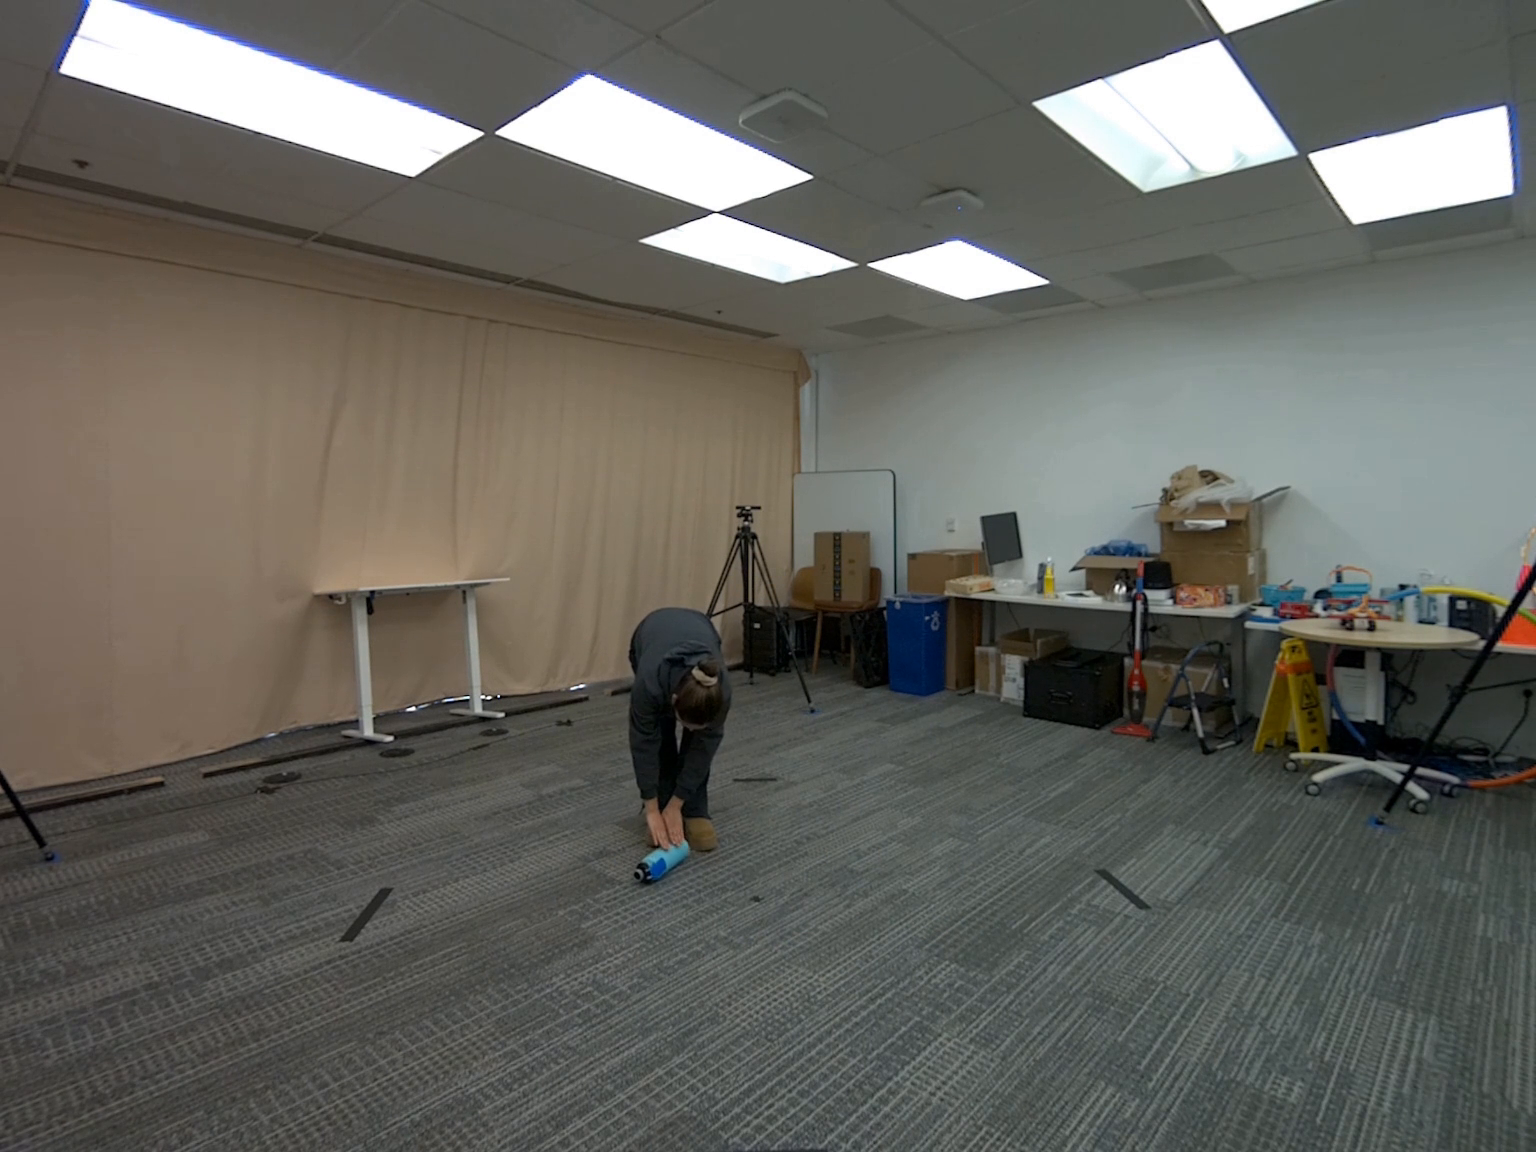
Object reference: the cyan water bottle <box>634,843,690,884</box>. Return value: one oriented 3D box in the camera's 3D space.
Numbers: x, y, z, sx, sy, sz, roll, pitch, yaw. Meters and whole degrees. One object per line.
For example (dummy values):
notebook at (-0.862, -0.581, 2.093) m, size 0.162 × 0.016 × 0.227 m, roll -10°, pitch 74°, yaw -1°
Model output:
cyan water bottle at (-0.392, 1.081, 3.205) m, size 0.095 × 0.092 × 0.277 m, roll 2°, pitch 5°, yaw 25°
